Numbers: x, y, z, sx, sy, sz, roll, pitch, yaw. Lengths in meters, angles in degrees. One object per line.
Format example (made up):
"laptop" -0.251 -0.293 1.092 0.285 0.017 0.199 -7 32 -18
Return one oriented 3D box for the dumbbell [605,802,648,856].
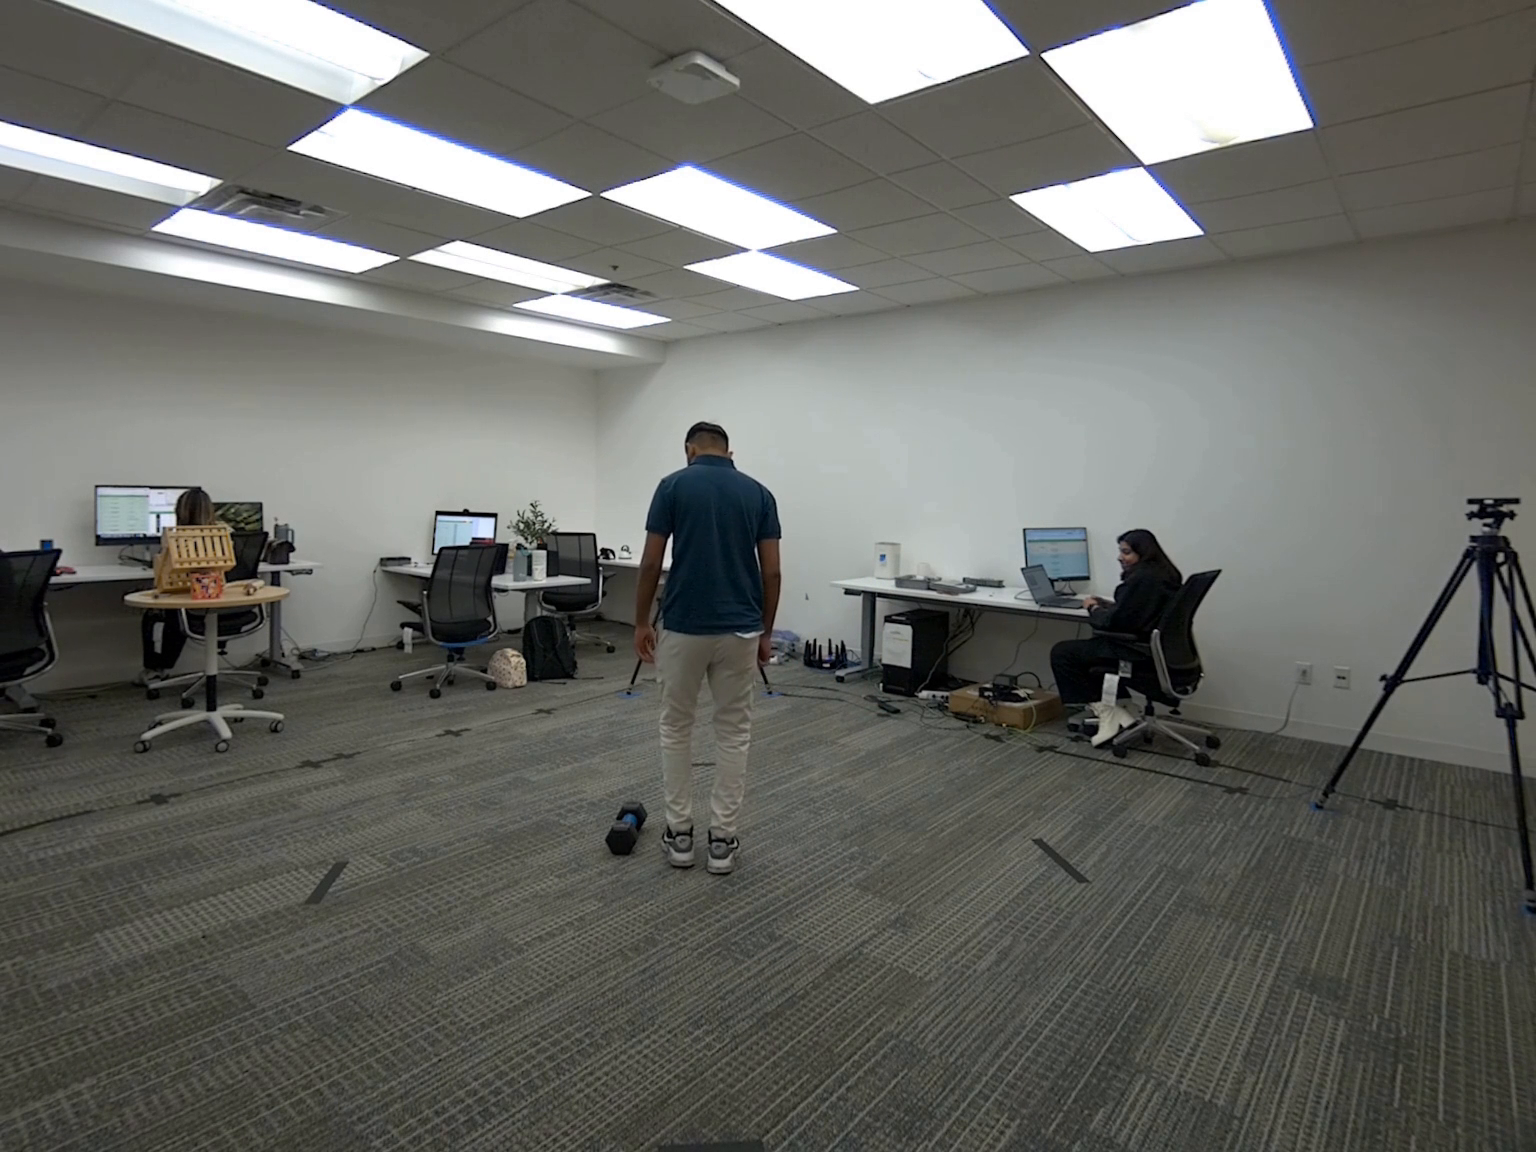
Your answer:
"dumbbell" -0.564 0.984 3.348 0.109 0.123 0.294 30 5 -1
